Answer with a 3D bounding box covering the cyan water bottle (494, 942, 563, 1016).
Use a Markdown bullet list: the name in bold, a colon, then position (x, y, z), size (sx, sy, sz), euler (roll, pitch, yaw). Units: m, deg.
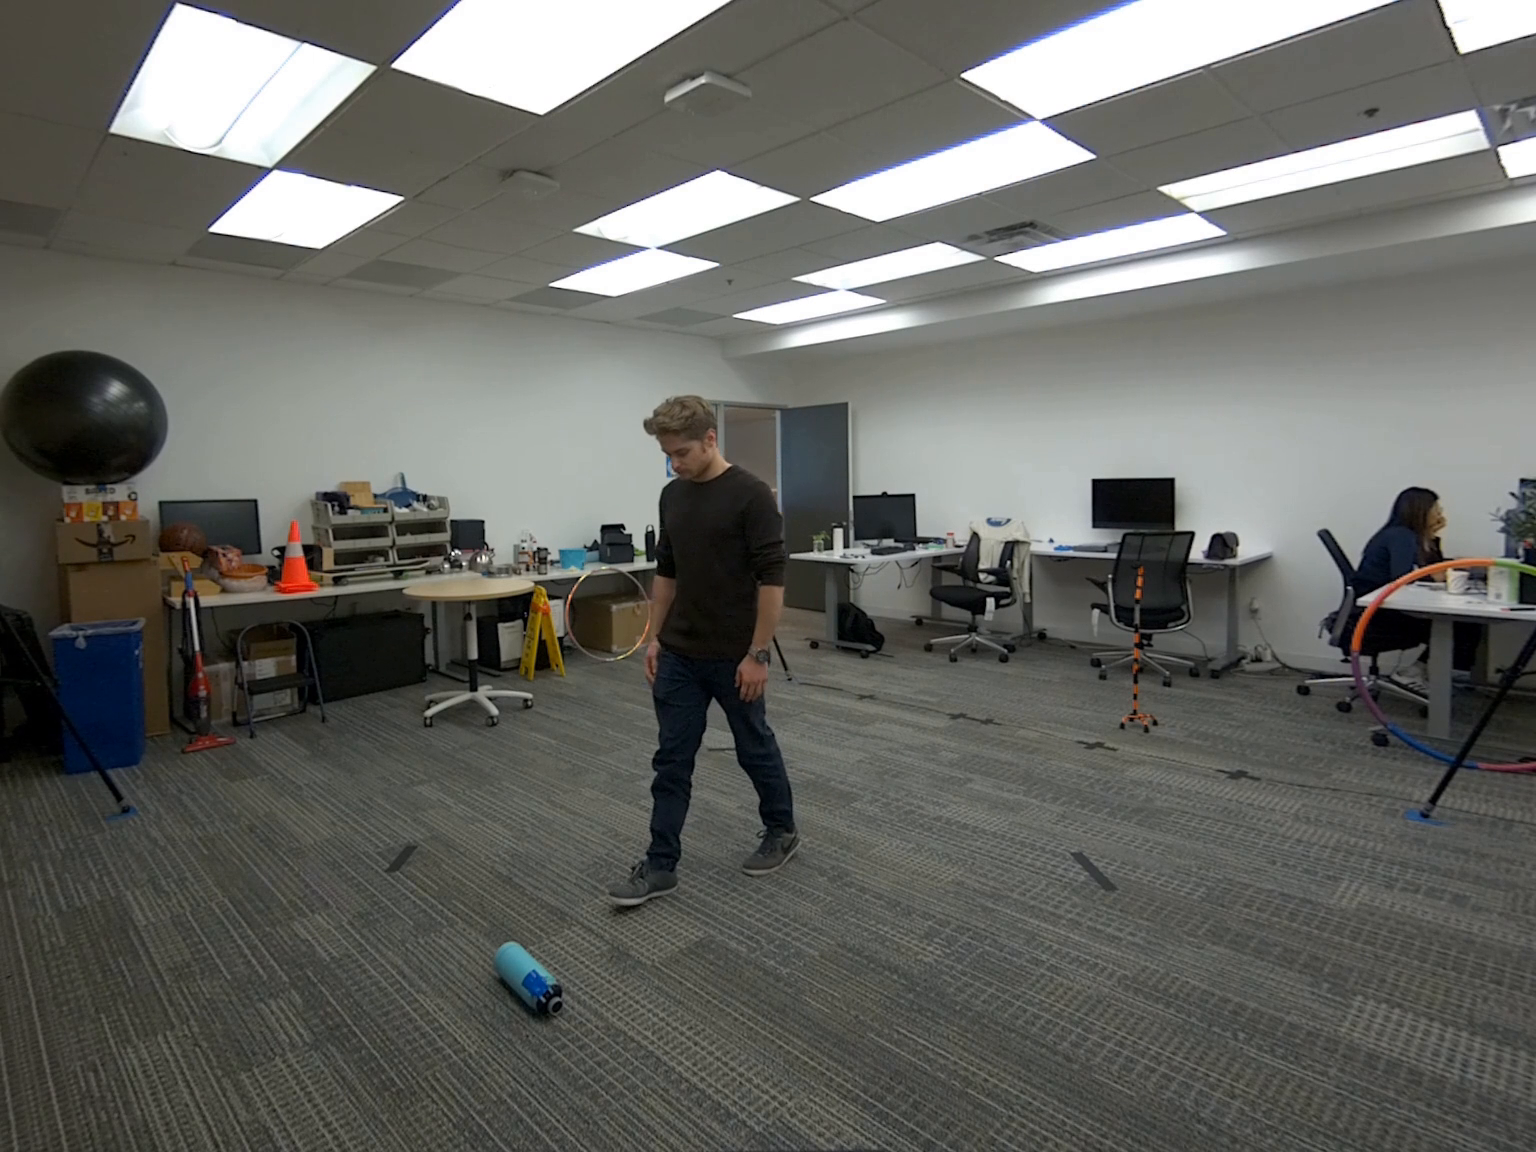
- **cyan water bottle**: position (-0.648, 1.101, 2.332), size (0.090, 0.092, 0.292), euler (-5, 8, -39)
